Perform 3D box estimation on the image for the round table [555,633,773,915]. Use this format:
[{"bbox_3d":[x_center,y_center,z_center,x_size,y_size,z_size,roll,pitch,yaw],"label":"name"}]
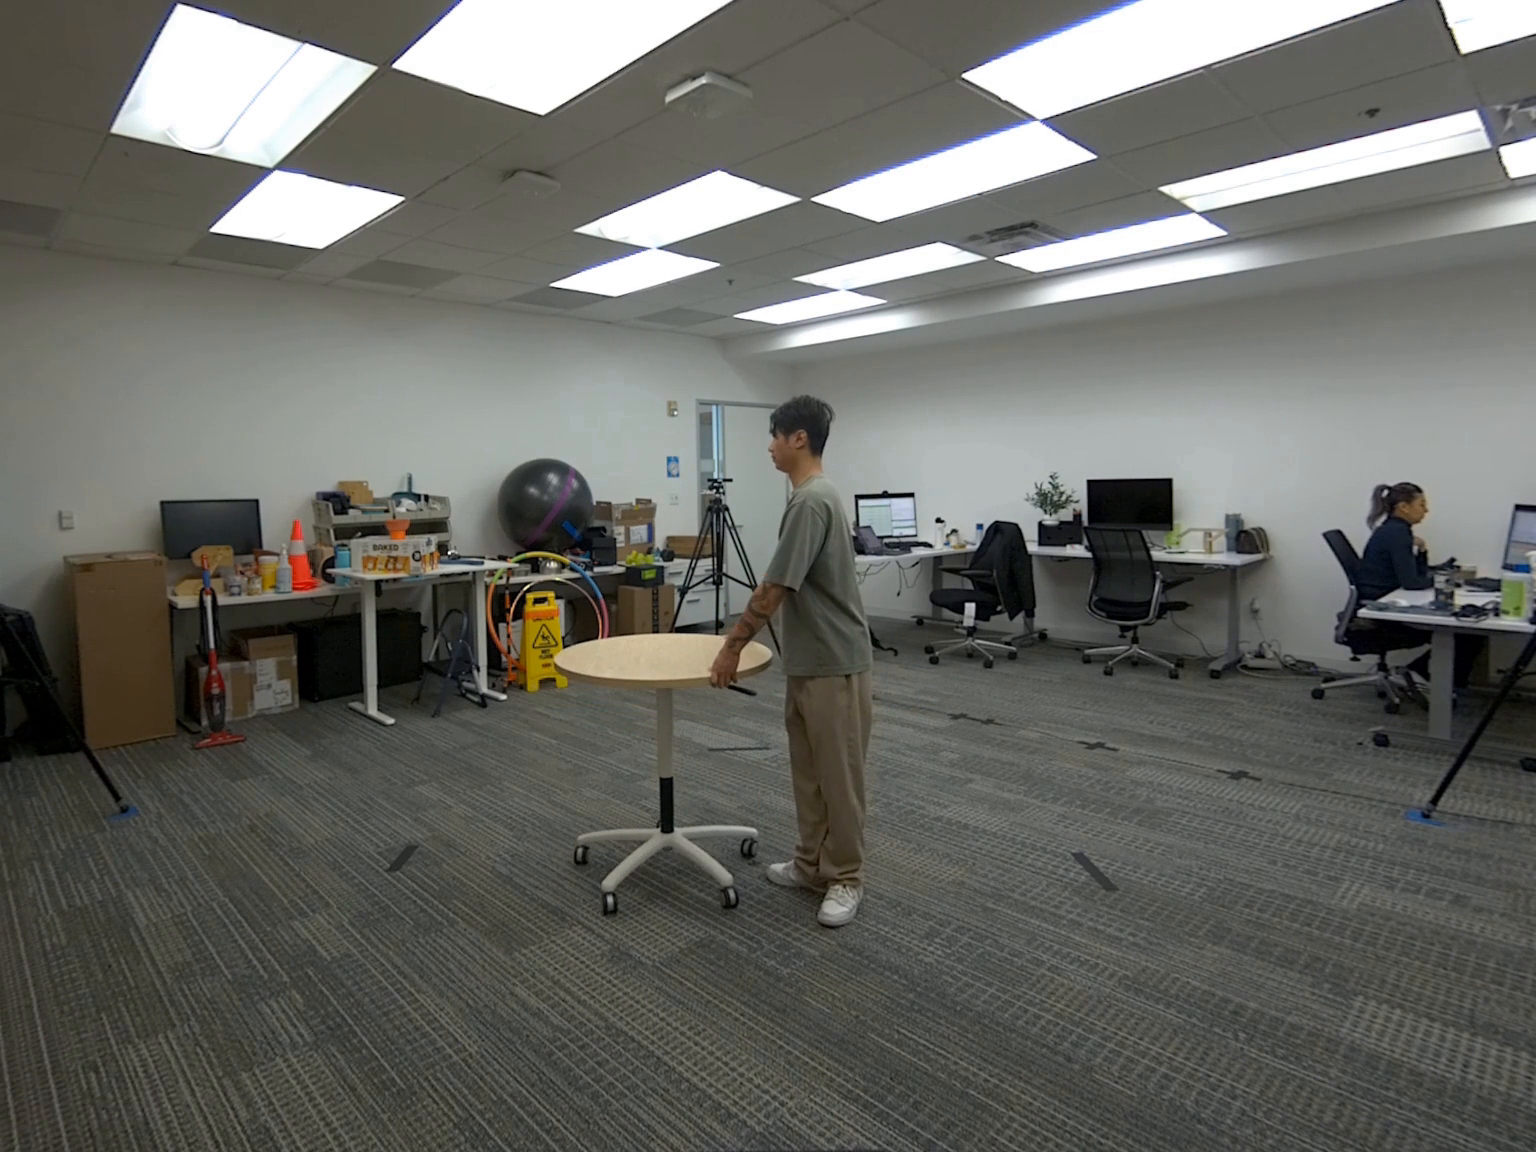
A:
[{"bbox_3d":[-0.373,0.663,3.049,0.784,0.783,0.789,-1,5,-2],"label":"round table"}]
